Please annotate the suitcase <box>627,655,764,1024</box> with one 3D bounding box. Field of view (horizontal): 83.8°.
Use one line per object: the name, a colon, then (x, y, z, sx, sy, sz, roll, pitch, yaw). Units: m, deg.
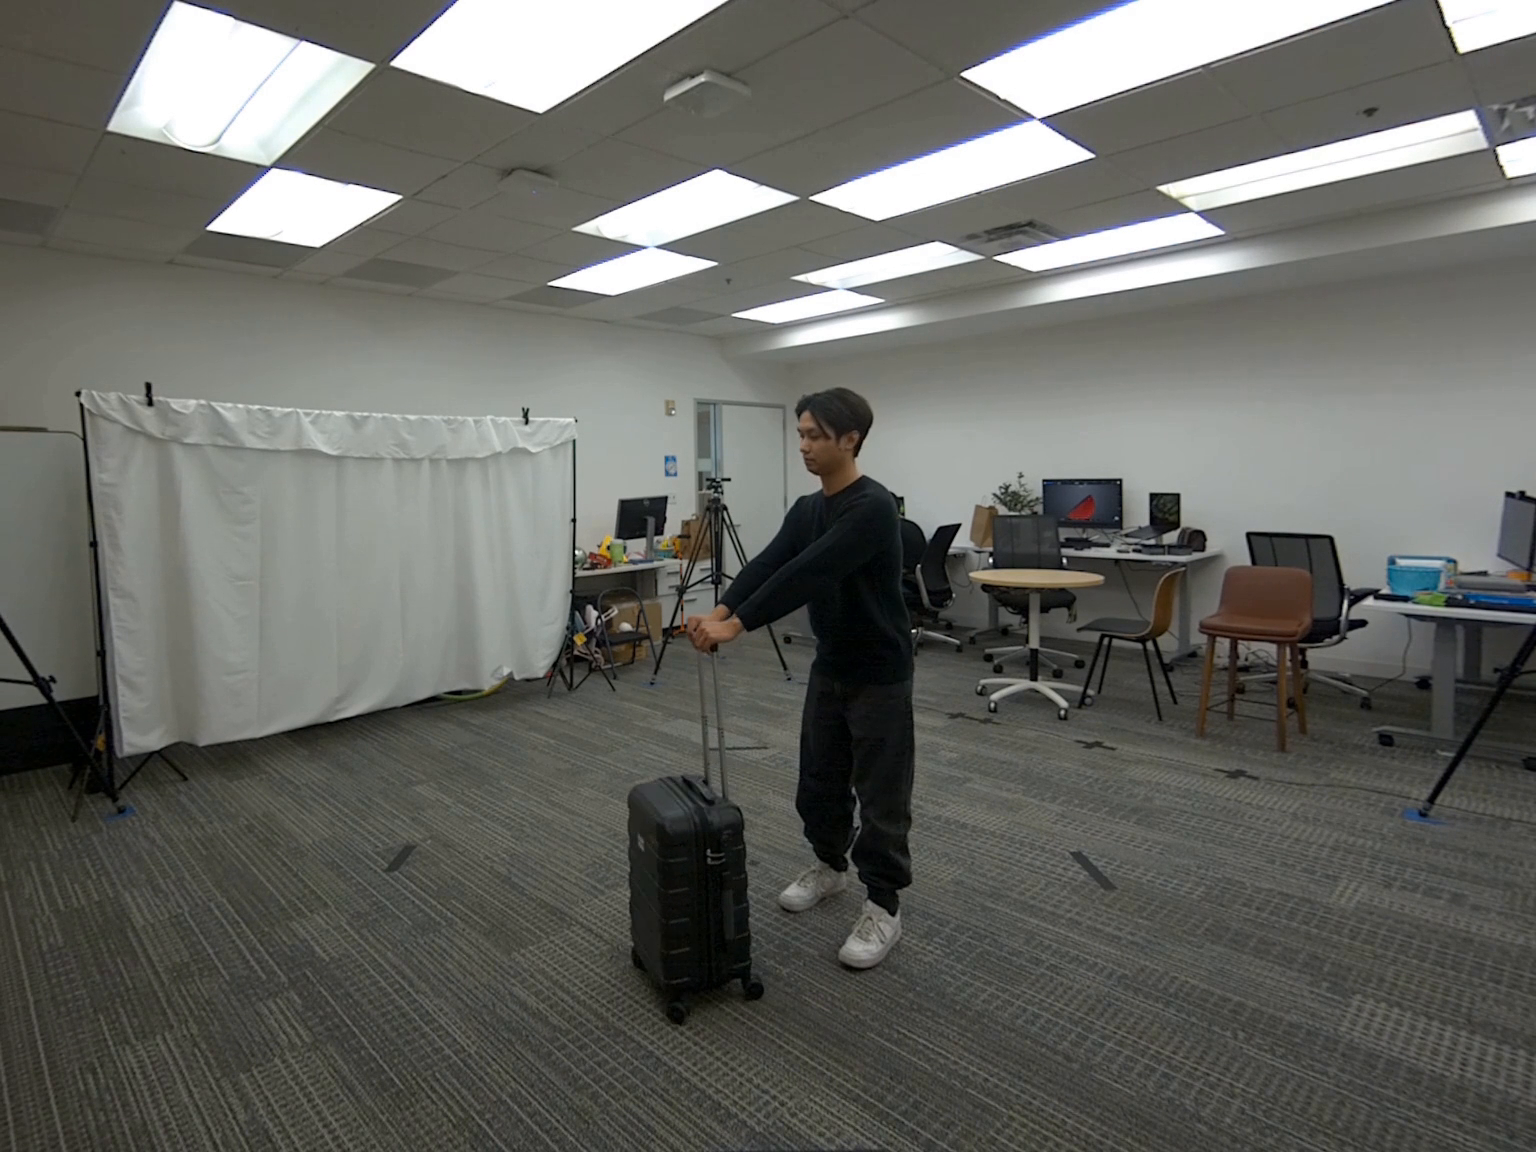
suitcase: (-0.230, 0.656, 2.365, 0.252, 0.975, 0.392, -5, 4, -22)
